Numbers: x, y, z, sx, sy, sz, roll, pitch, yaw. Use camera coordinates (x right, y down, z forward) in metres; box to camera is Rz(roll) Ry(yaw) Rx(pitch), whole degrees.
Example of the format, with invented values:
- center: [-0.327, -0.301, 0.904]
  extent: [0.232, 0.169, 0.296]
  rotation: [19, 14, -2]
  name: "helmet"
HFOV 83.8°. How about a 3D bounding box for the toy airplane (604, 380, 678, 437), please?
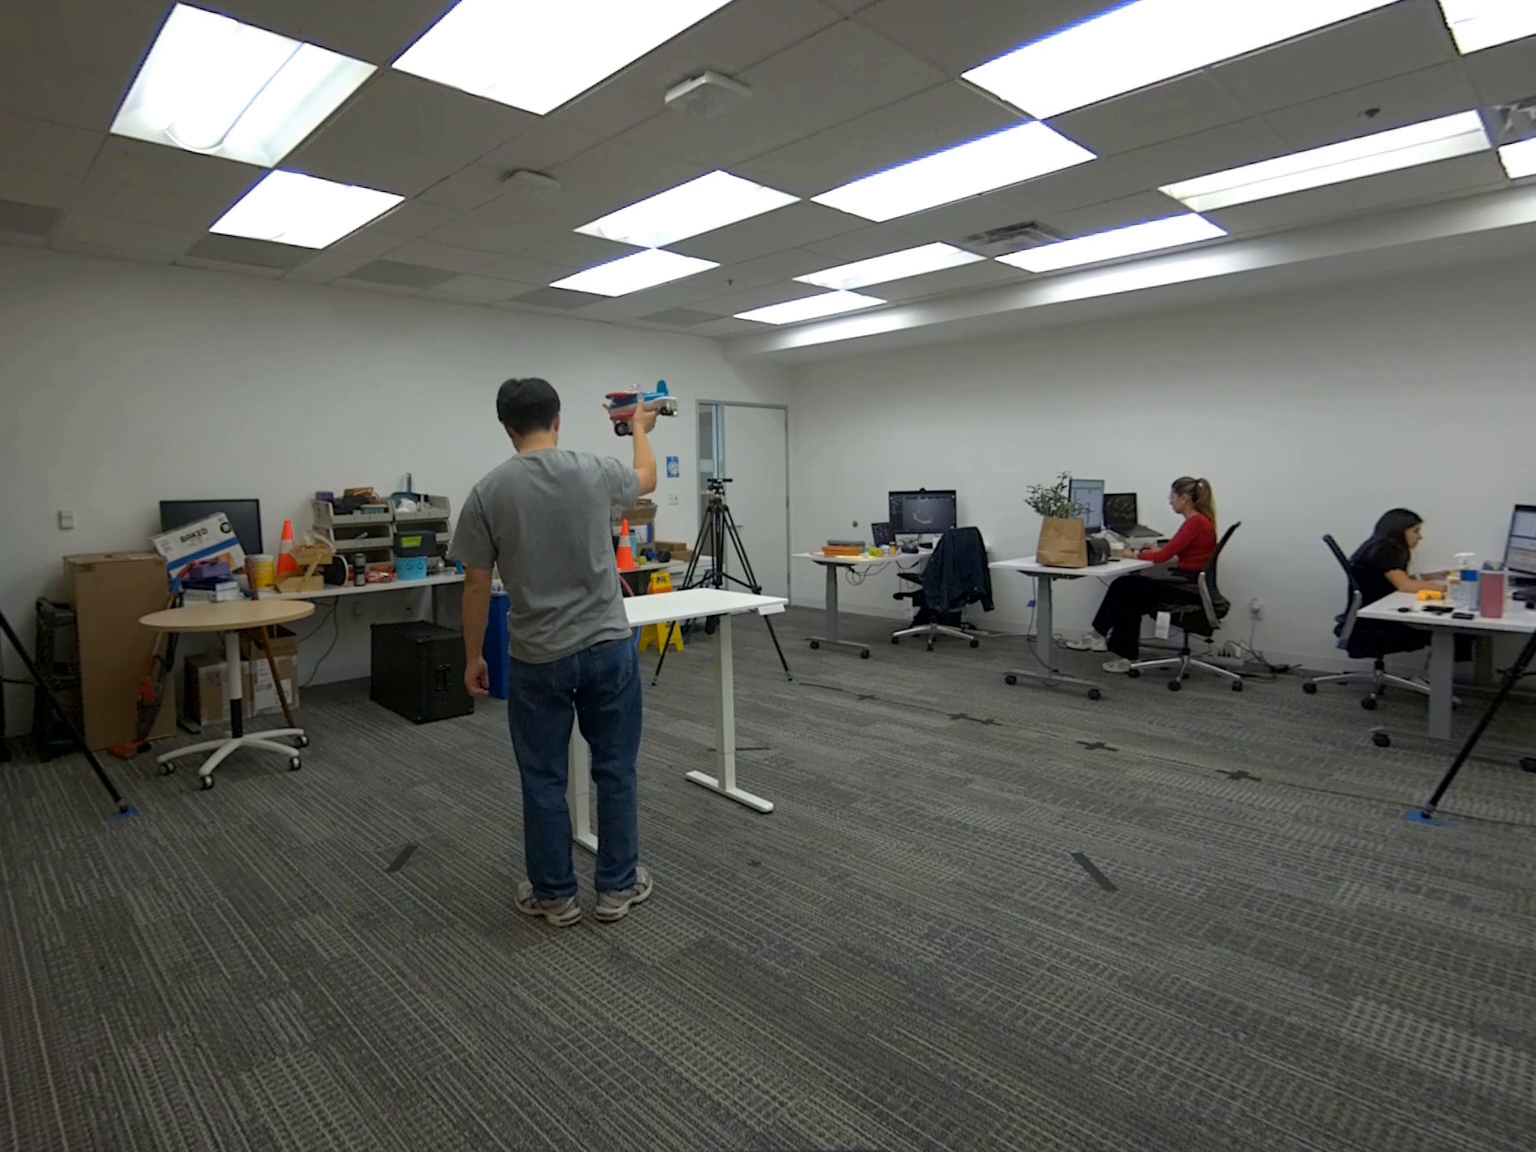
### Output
- center: [-0.471, -0.632, 3.208]
  extent: [0.258, 0.157, 0.251]
  rotation: [-23, -1, -6]
  name: "toy airplane"
